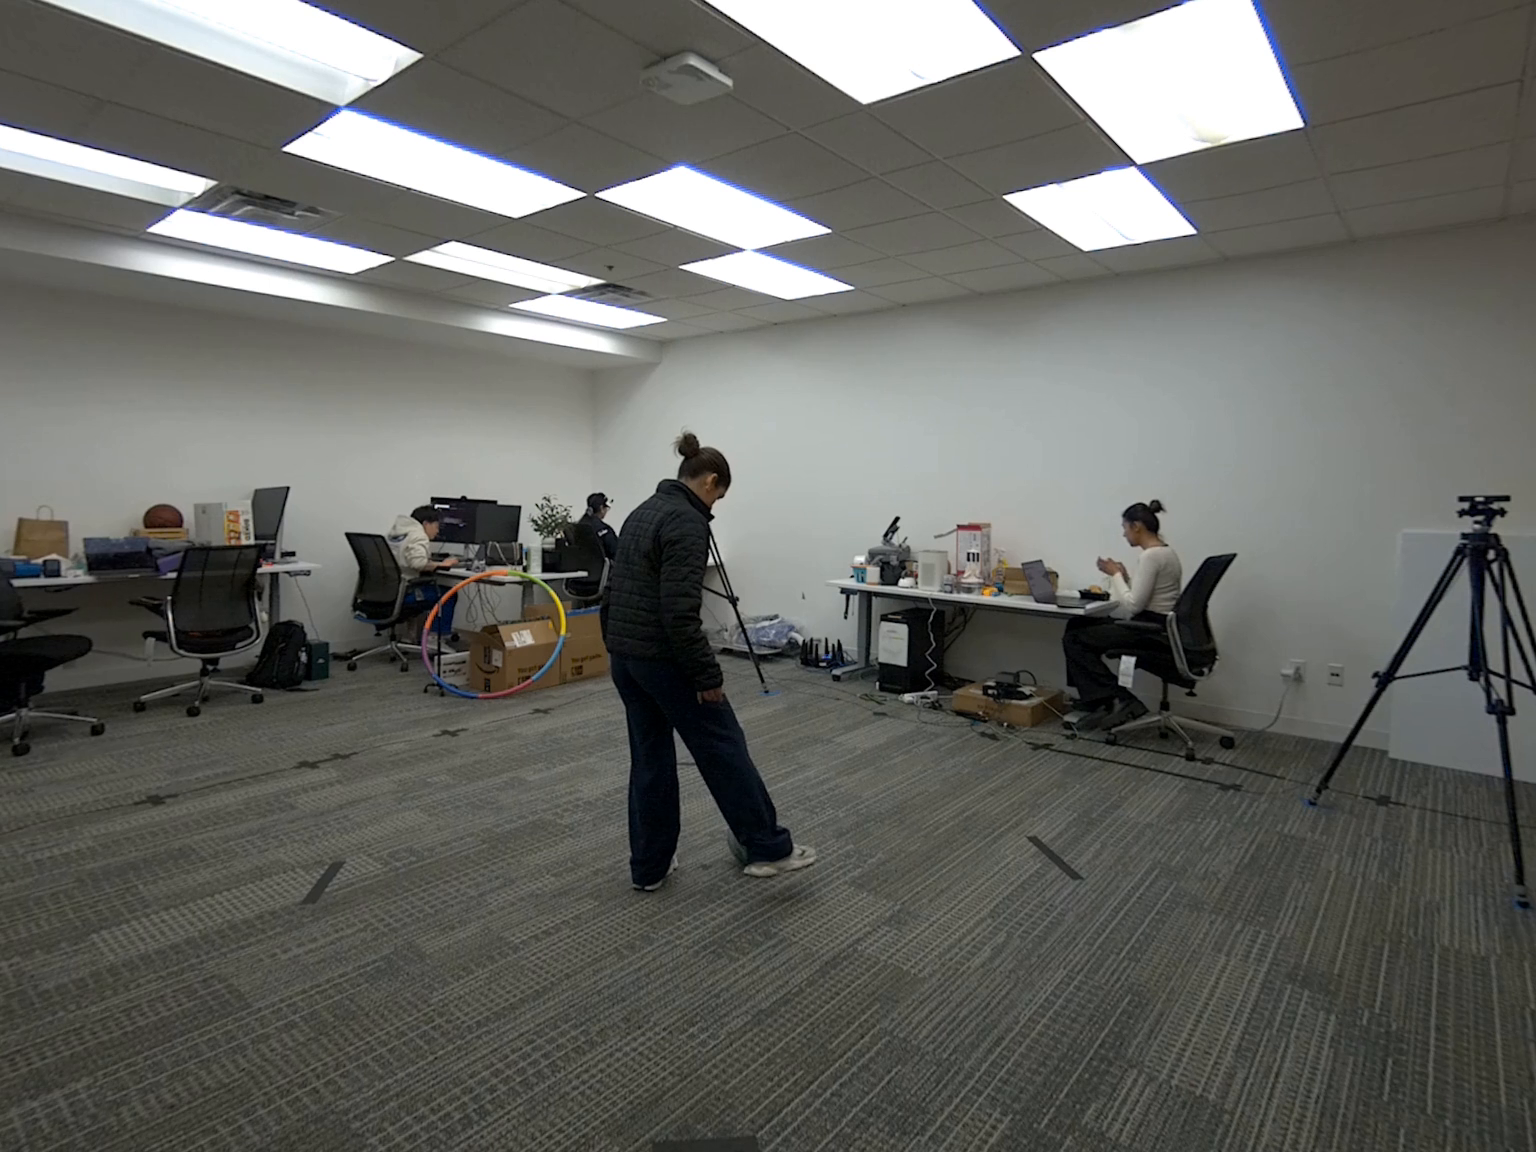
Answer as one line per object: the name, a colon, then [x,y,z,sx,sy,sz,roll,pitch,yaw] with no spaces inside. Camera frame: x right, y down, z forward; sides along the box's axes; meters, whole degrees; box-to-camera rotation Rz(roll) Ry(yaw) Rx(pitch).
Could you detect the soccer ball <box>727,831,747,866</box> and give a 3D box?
soccer ball: [-0.065,0.963,3.151,0.187,0.187,0.188,1,4,-2]
